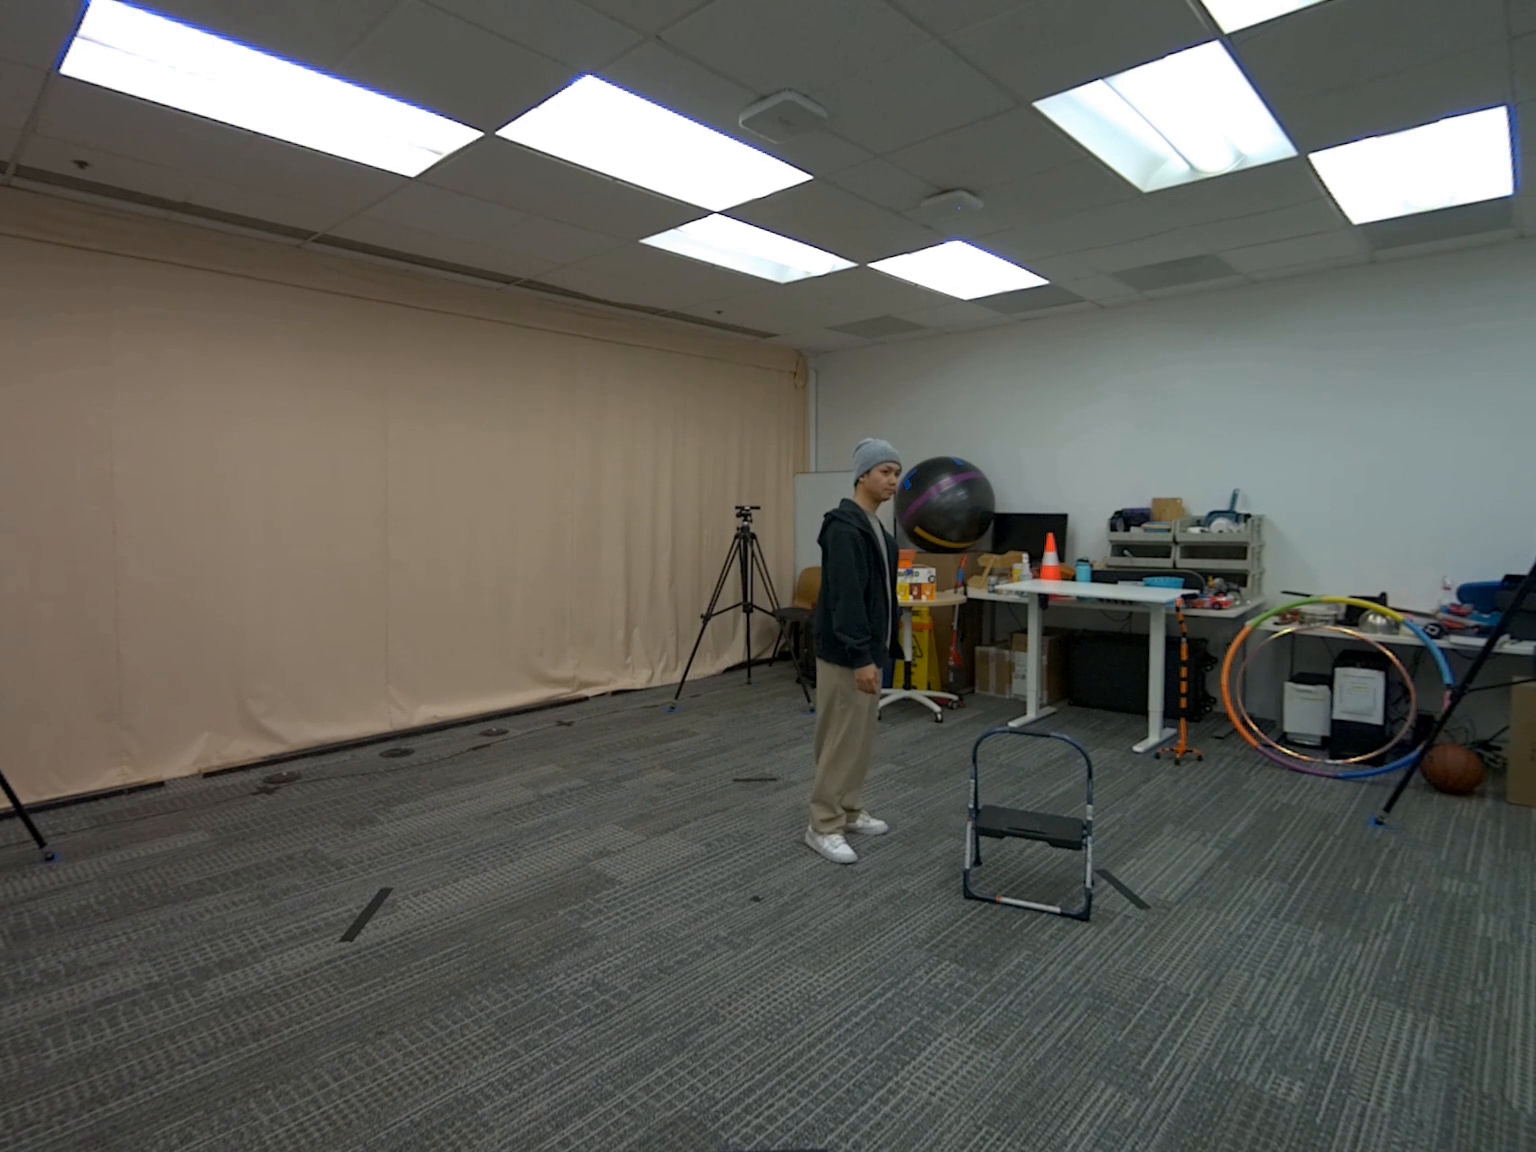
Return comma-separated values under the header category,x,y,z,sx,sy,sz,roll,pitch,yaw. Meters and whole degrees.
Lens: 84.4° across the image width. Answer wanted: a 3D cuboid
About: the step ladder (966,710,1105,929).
category,x,y,z,sx,sy,sz,roll,pitch,yaw
step ladder,0.958,0.839,3.026,0.441,0.605,0.342,1,3,22
